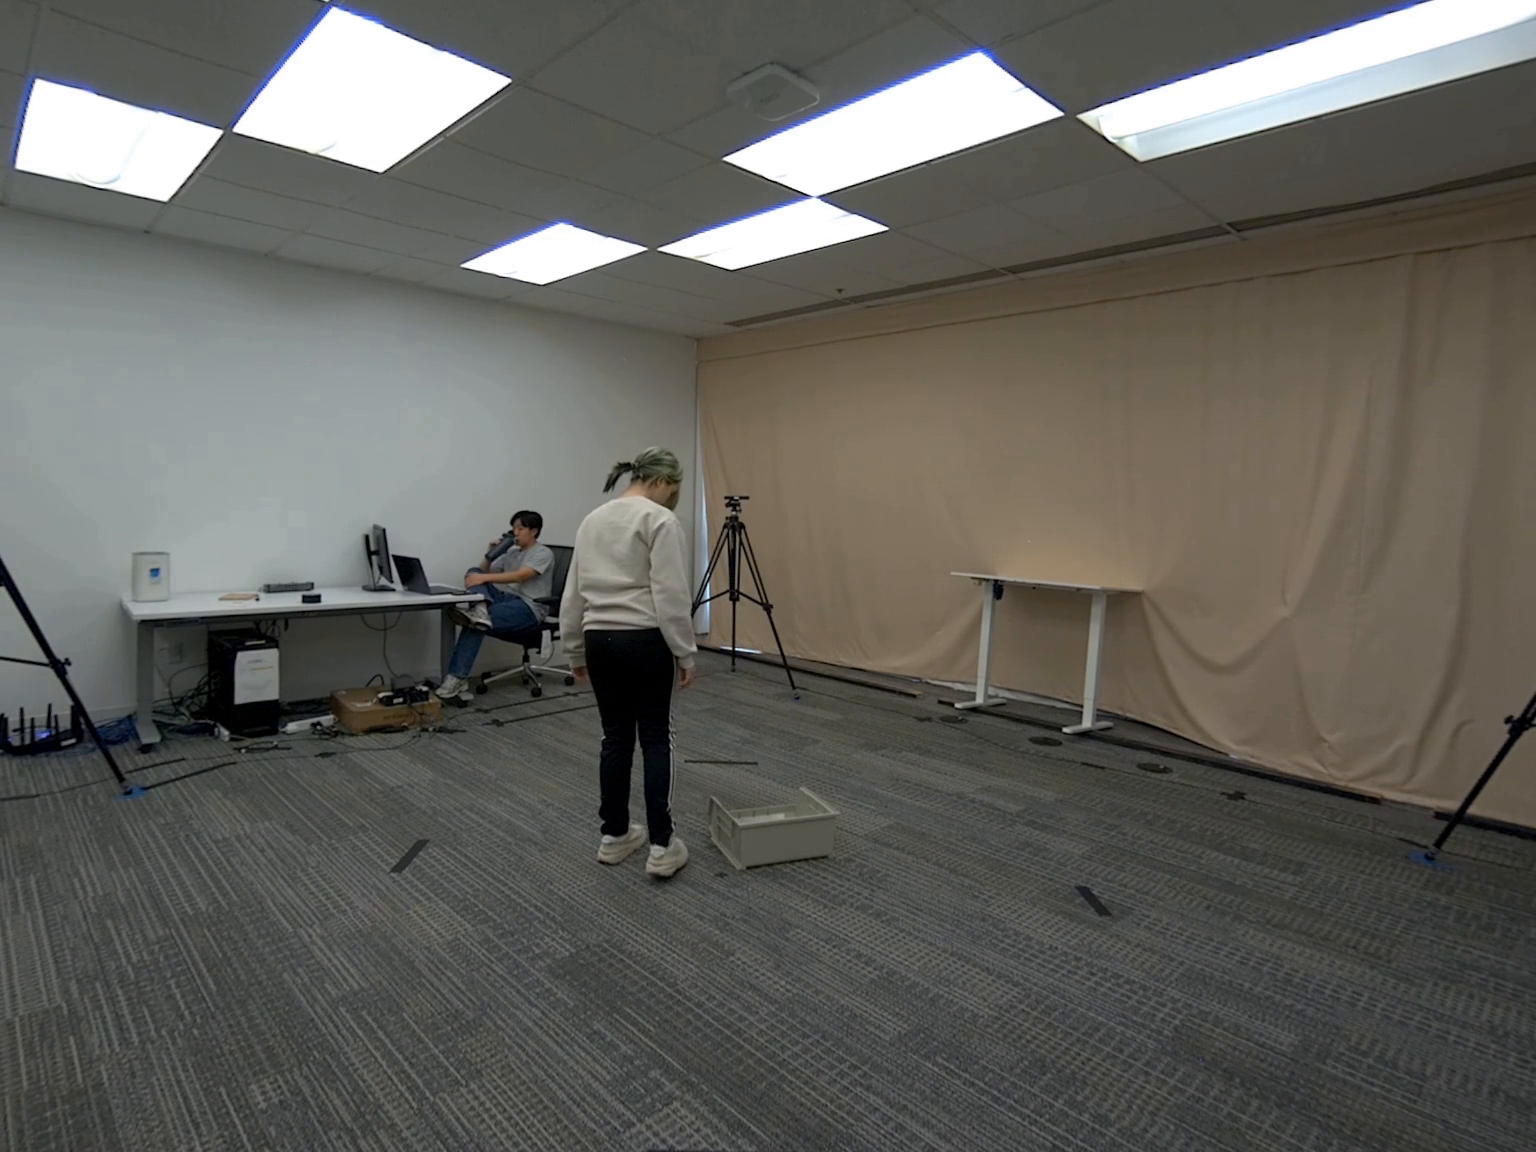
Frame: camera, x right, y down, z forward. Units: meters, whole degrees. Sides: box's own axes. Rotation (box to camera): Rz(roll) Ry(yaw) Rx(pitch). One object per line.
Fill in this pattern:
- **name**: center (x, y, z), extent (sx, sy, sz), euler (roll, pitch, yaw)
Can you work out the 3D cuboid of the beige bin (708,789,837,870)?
- **beige bin**: center (0.001, 0.994, 3.376), extent (0.415, 0.188, 0.385), euler (1, 5, -22)
